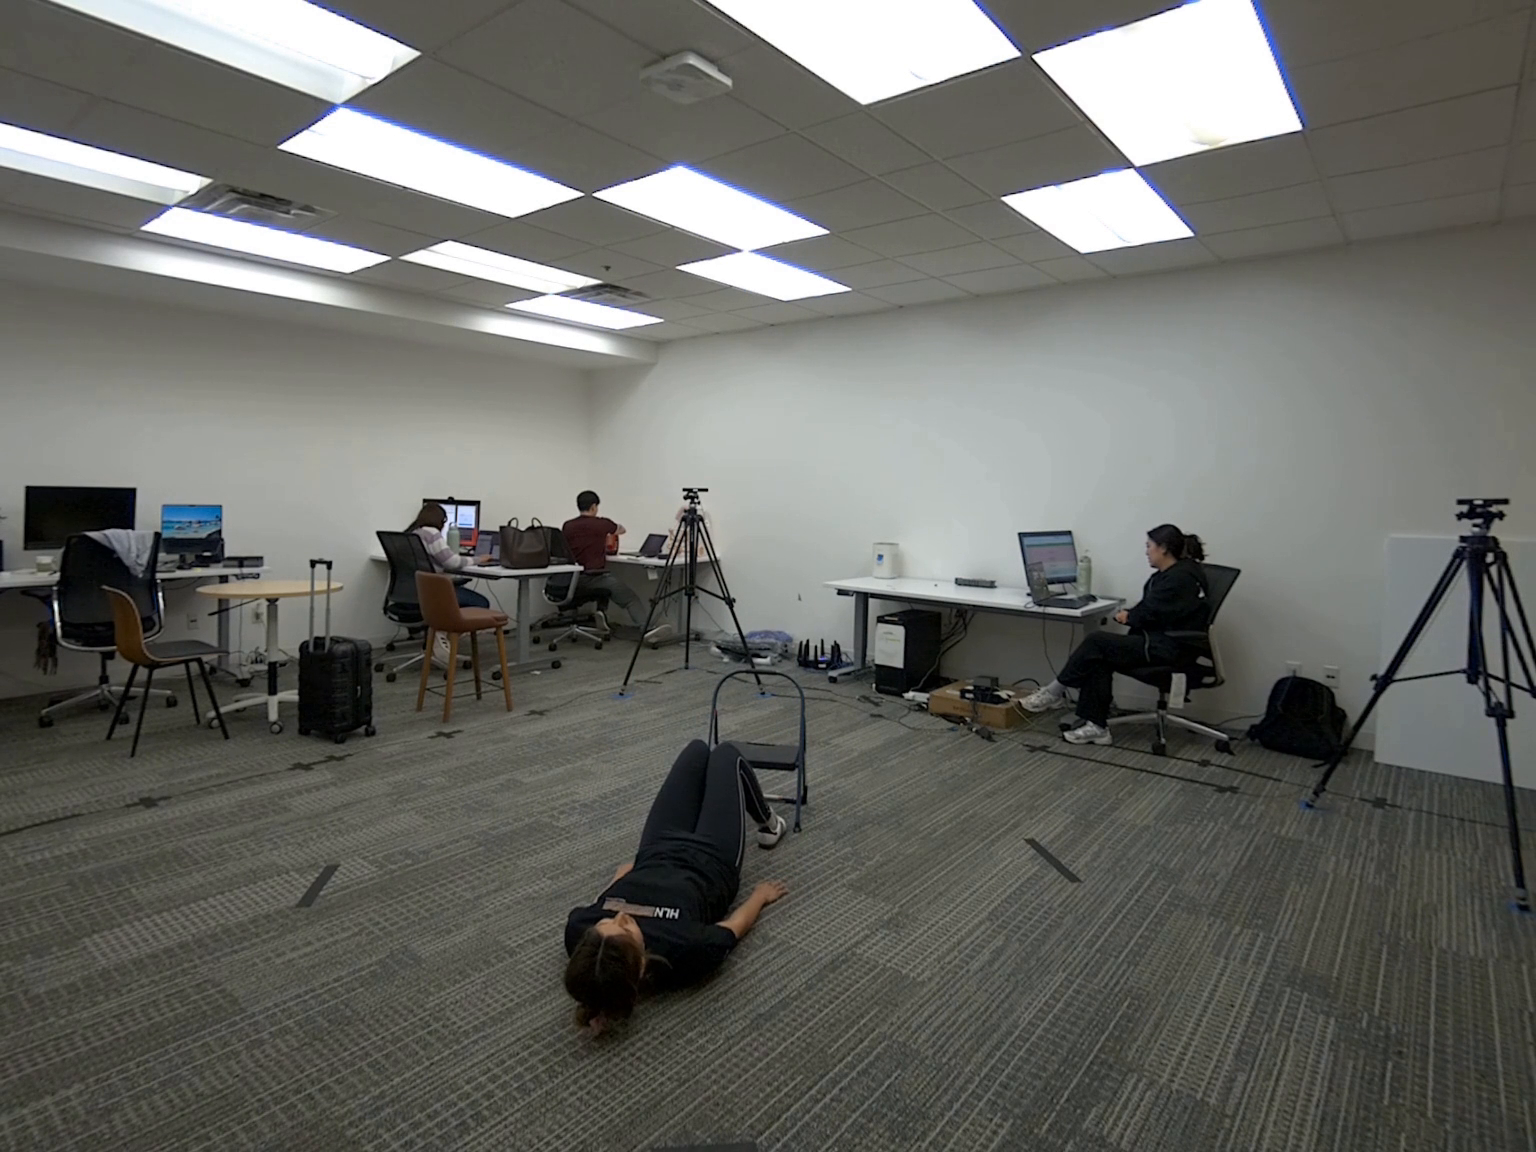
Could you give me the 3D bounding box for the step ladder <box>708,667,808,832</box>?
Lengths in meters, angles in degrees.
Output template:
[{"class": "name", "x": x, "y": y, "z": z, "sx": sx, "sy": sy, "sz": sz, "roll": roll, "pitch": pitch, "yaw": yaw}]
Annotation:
[{"class": "step ladder", "x": -0.053, "y": 0.713, "z": 3.660, "sx": 0.436, "sy": 0.604, "sz": 0.346, "roll": 2, "pitch": 4, "yaw": 10}]
